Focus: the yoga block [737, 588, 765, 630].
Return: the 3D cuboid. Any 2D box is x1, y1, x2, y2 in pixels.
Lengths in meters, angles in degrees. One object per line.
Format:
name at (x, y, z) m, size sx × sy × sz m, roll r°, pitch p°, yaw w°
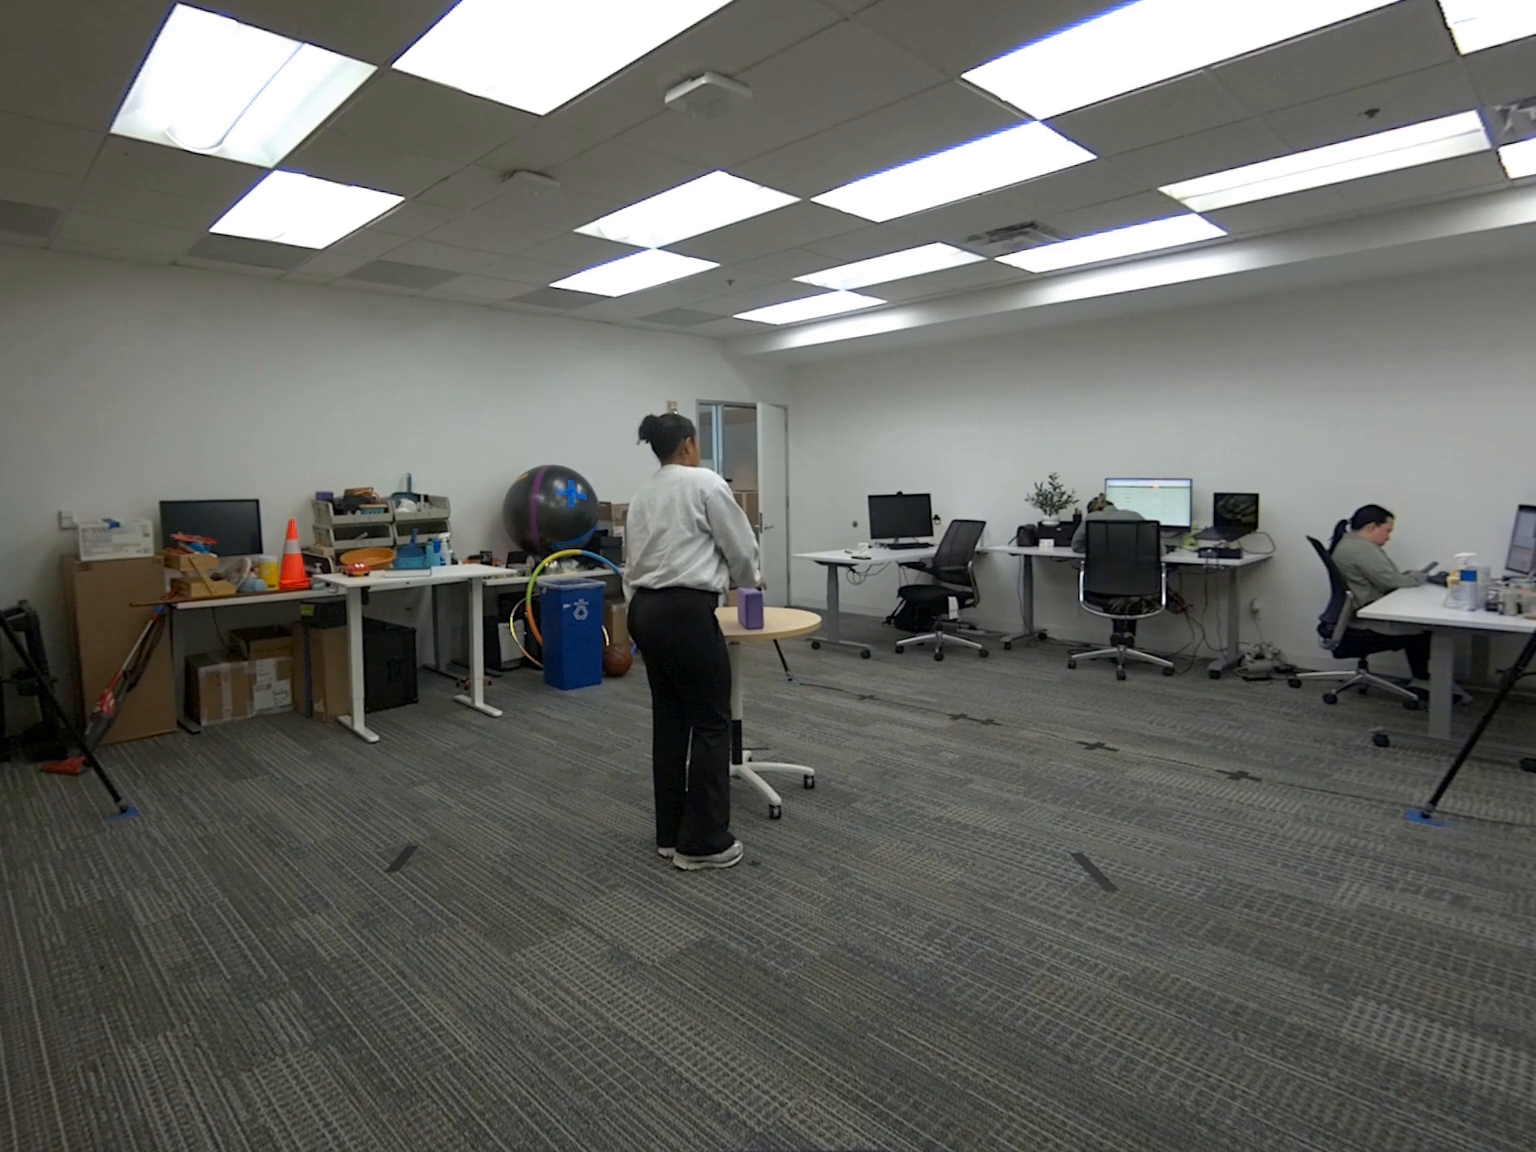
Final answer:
yoga block at (-0.074, 0.134, 3.595) m, size 0.076 × 0.148 × 0.232 m, roll -1°, pitch 5°, yaw -9°
